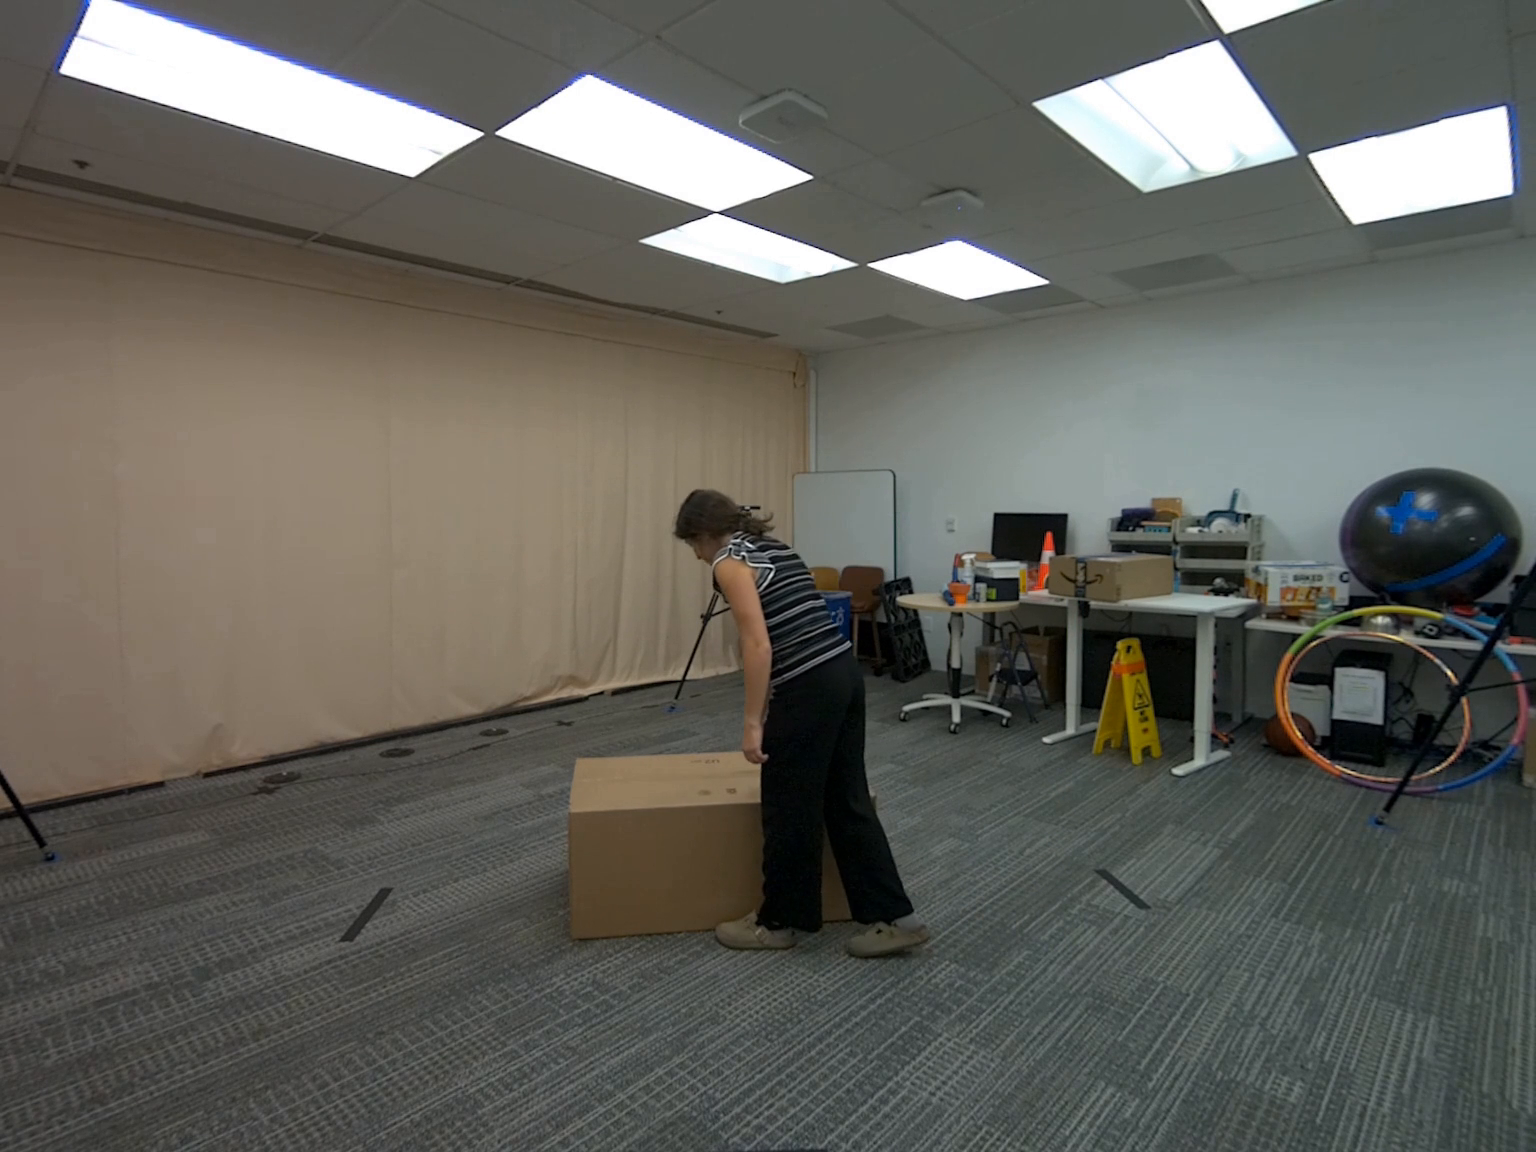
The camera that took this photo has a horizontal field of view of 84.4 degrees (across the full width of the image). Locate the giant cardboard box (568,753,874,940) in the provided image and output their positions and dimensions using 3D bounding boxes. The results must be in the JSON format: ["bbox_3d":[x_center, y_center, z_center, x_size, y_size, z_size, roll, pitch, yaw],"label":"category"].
[{"bbox_3d":[-0.190,0.929,3.039,1.018,0.425,0.584,-1,5,-8],"label":"giant cardboard box"}]
